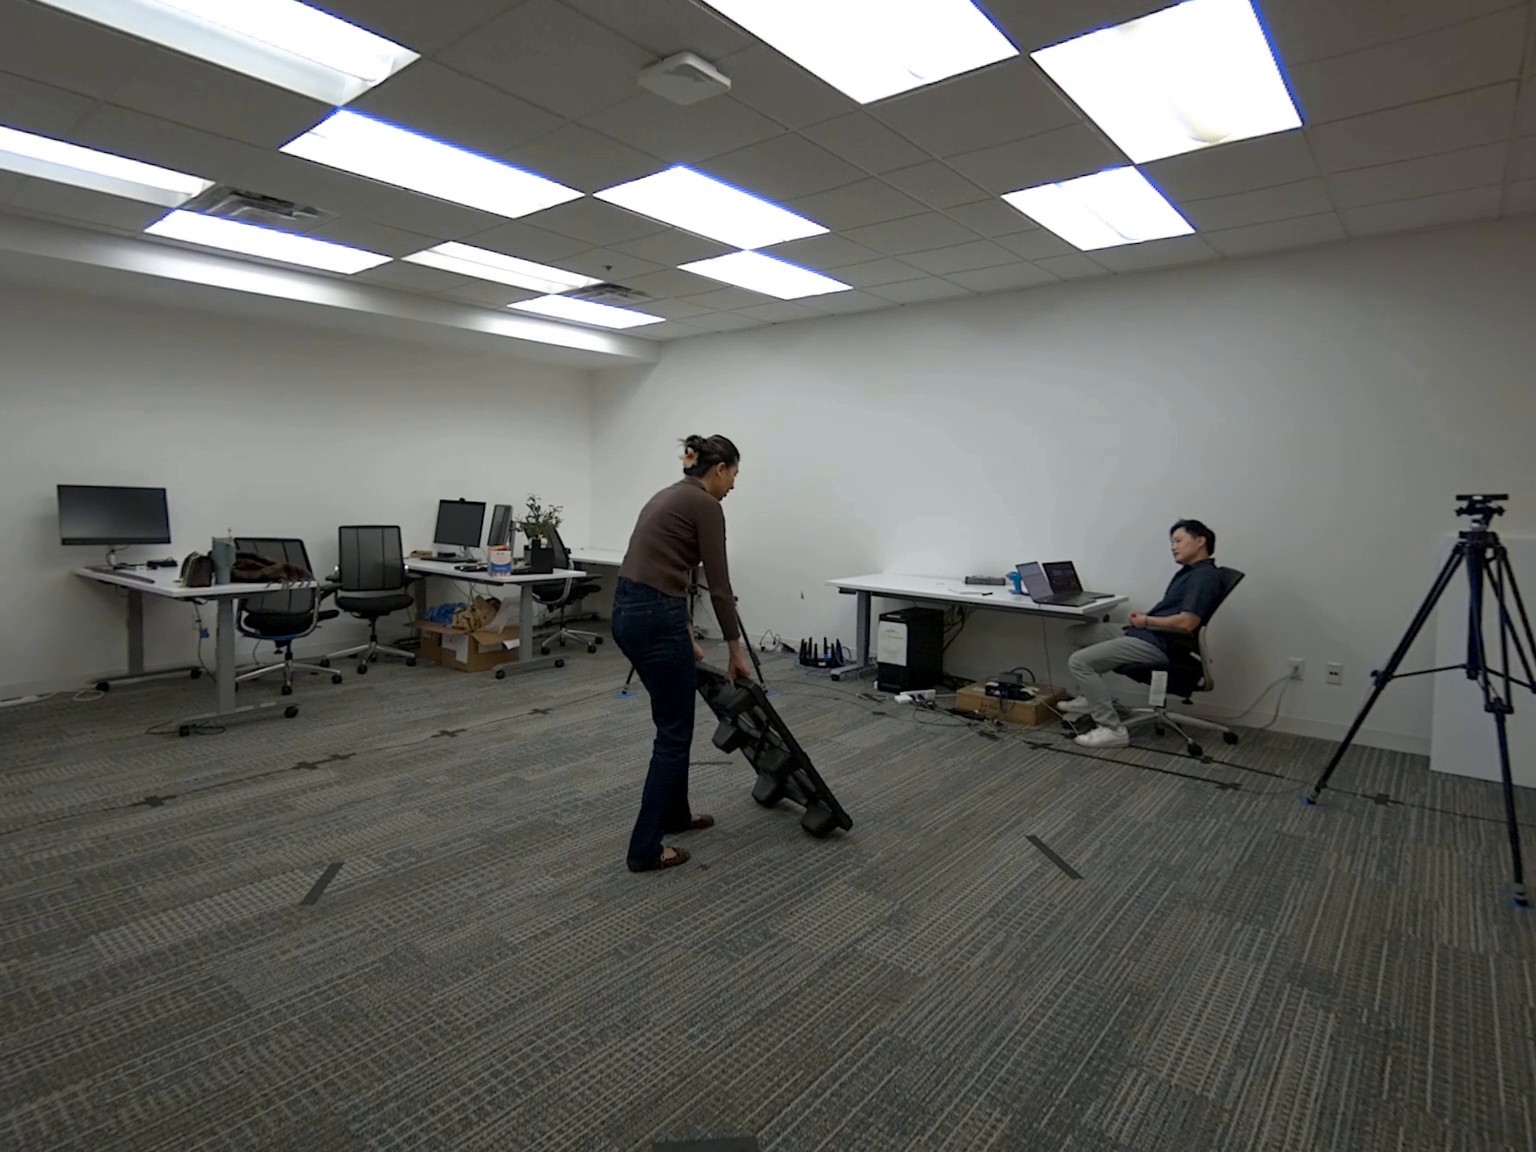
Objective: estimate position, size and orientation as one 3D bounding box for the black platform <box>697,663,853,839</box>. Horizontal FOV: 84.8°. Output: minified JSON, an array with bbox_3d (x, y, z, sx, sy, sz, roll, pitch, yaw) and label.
[{"bbox_3d":[-0.068,0.696,3.485,0.143,0.784,0.624,-42,23,-23],"label":"black platform"}]
